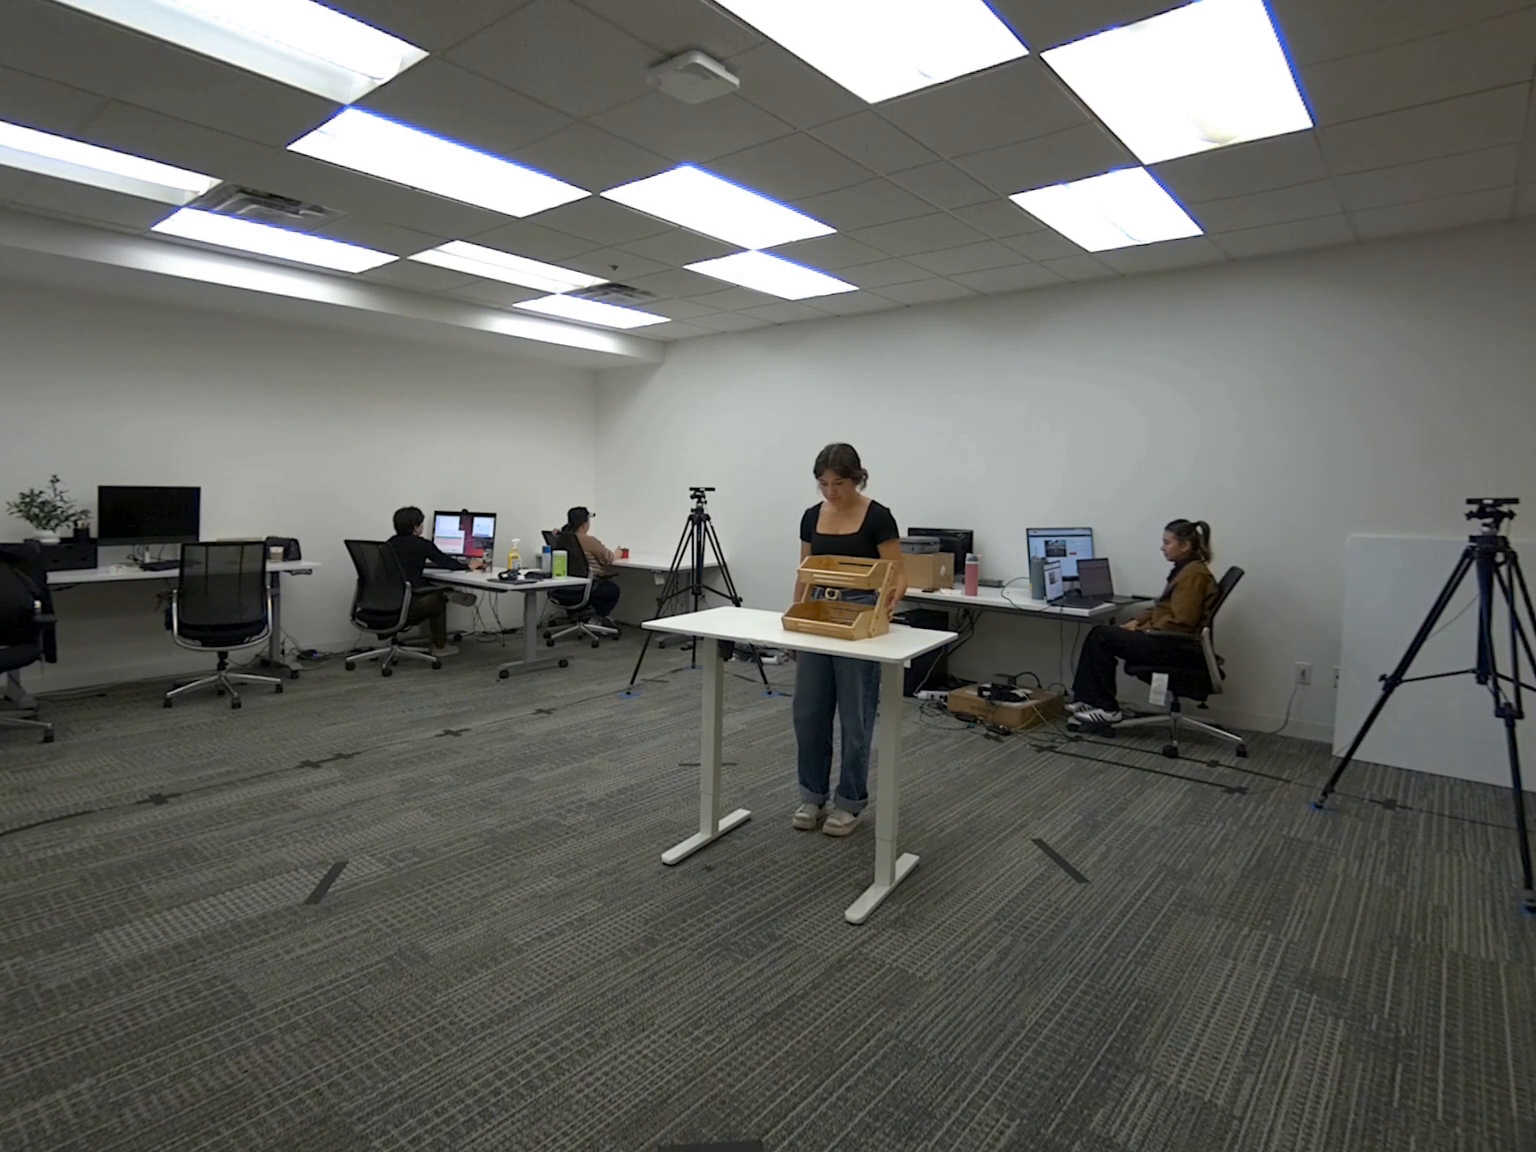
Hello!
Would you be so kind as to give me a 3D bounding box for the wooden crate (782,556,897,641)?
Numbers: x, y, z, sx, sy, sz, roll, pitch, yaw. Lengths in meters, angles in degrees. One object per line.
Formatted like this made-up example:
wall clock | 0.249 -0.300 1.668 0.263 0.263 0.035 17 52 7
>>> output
wooden crate | 0.251 0.065 3.083 0.335 0.272 0.293 5 5 38
